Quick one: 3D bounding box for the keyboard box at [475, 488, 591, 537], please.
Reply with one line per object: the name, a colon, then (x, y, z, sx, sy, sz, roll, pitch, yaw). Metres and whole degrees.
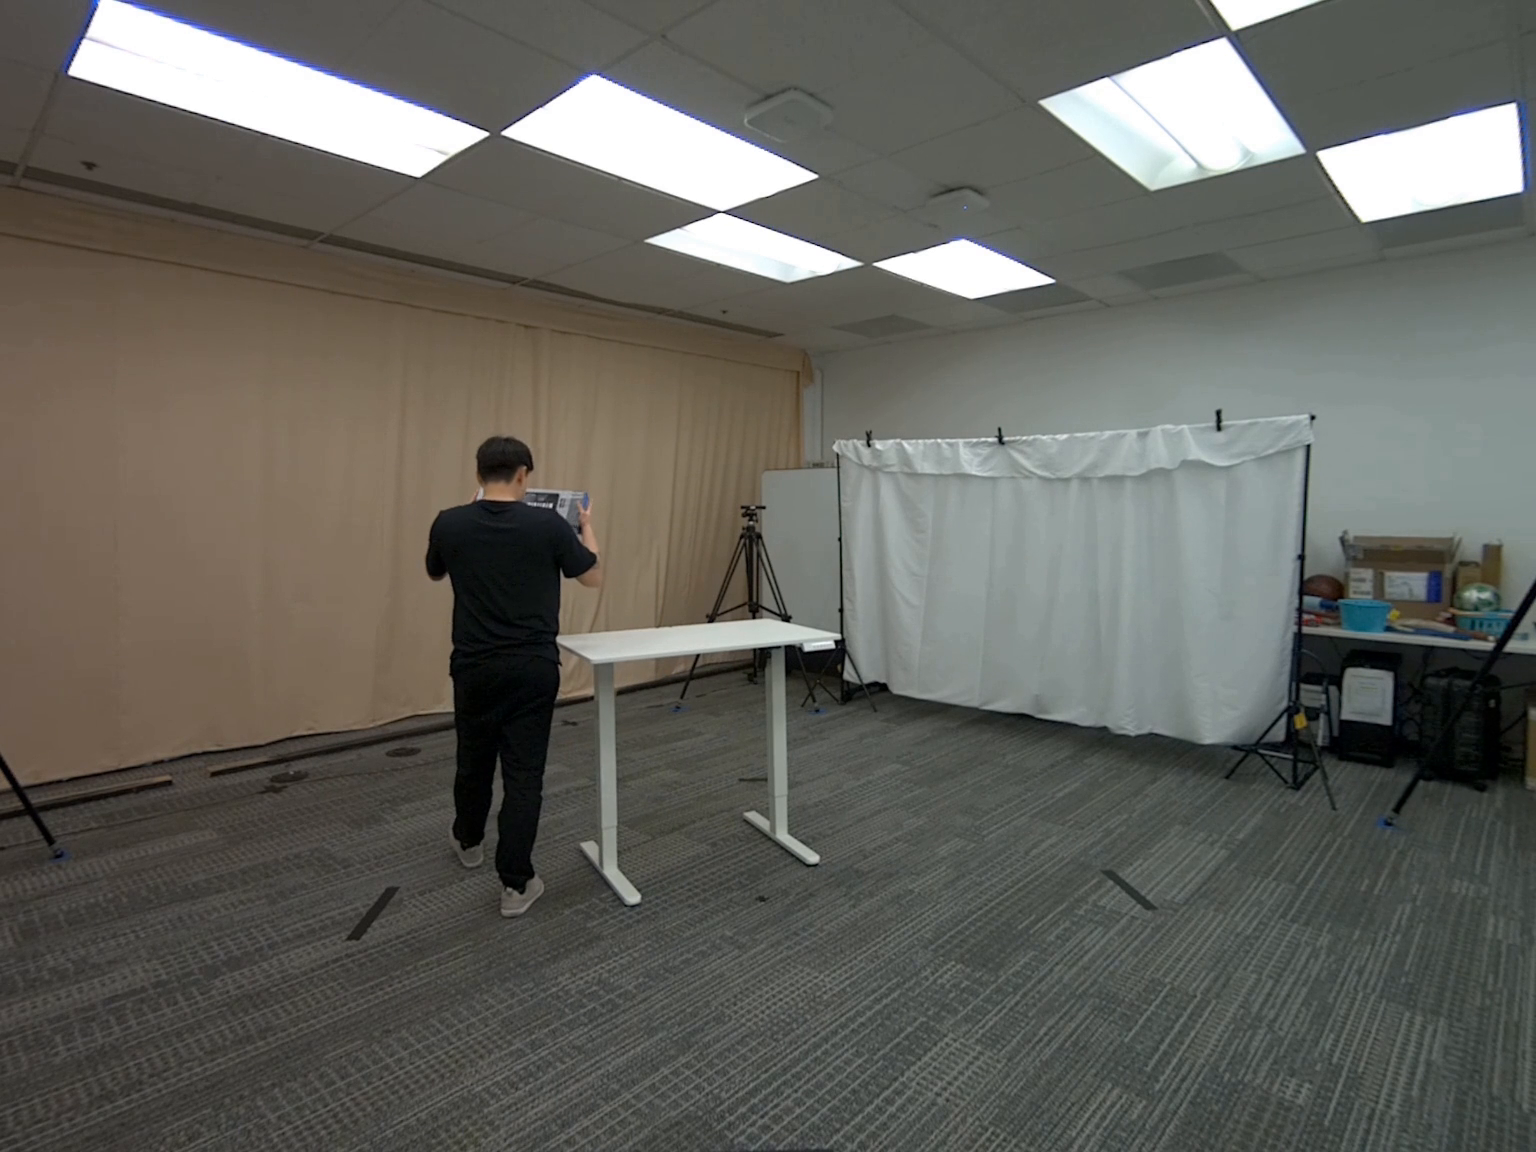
keyboard box: (-0.934, -0.261, 3.321, 0.440, 0.178, 0.058, 3, -33, 6)
